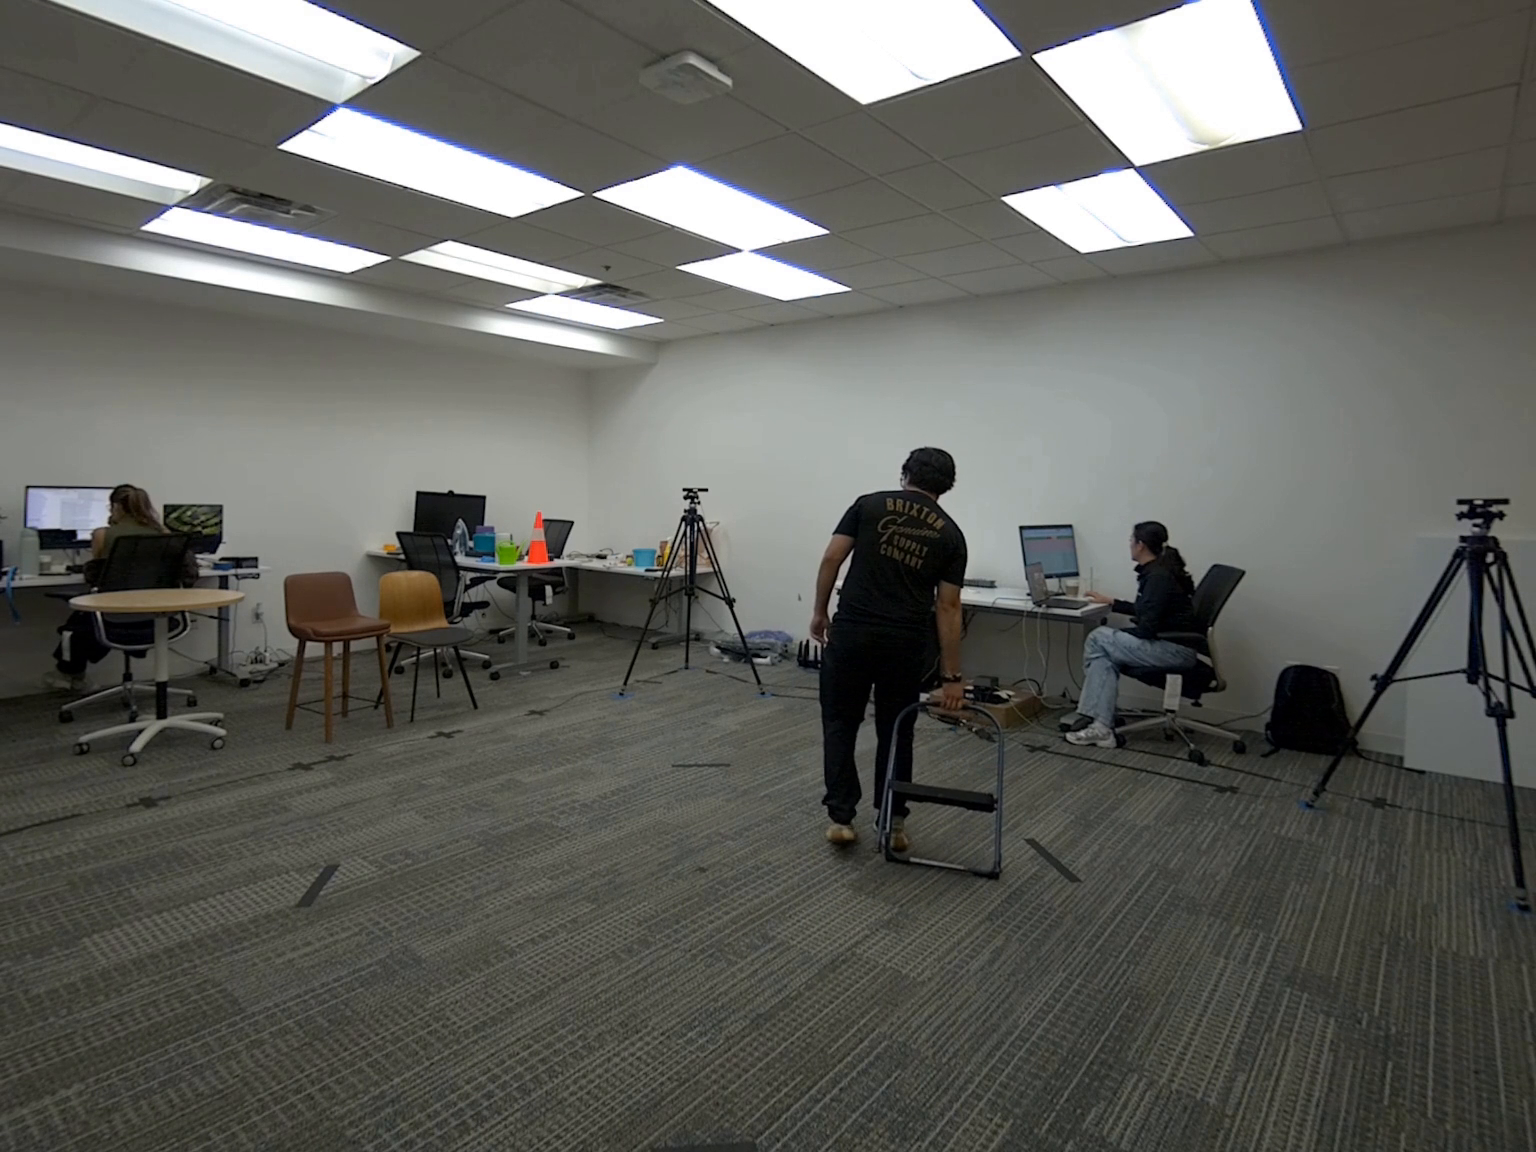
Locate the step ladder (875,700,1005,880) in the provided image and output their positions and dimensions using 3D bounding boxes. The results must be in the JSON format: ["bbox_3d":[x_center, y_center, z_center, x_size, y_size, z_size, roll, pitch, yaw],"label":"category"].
[{"bbox_3d":[0.653,0.749,3.138,0.438,0.616,0.337,3,-23,16],"label":"step ladder"}]
